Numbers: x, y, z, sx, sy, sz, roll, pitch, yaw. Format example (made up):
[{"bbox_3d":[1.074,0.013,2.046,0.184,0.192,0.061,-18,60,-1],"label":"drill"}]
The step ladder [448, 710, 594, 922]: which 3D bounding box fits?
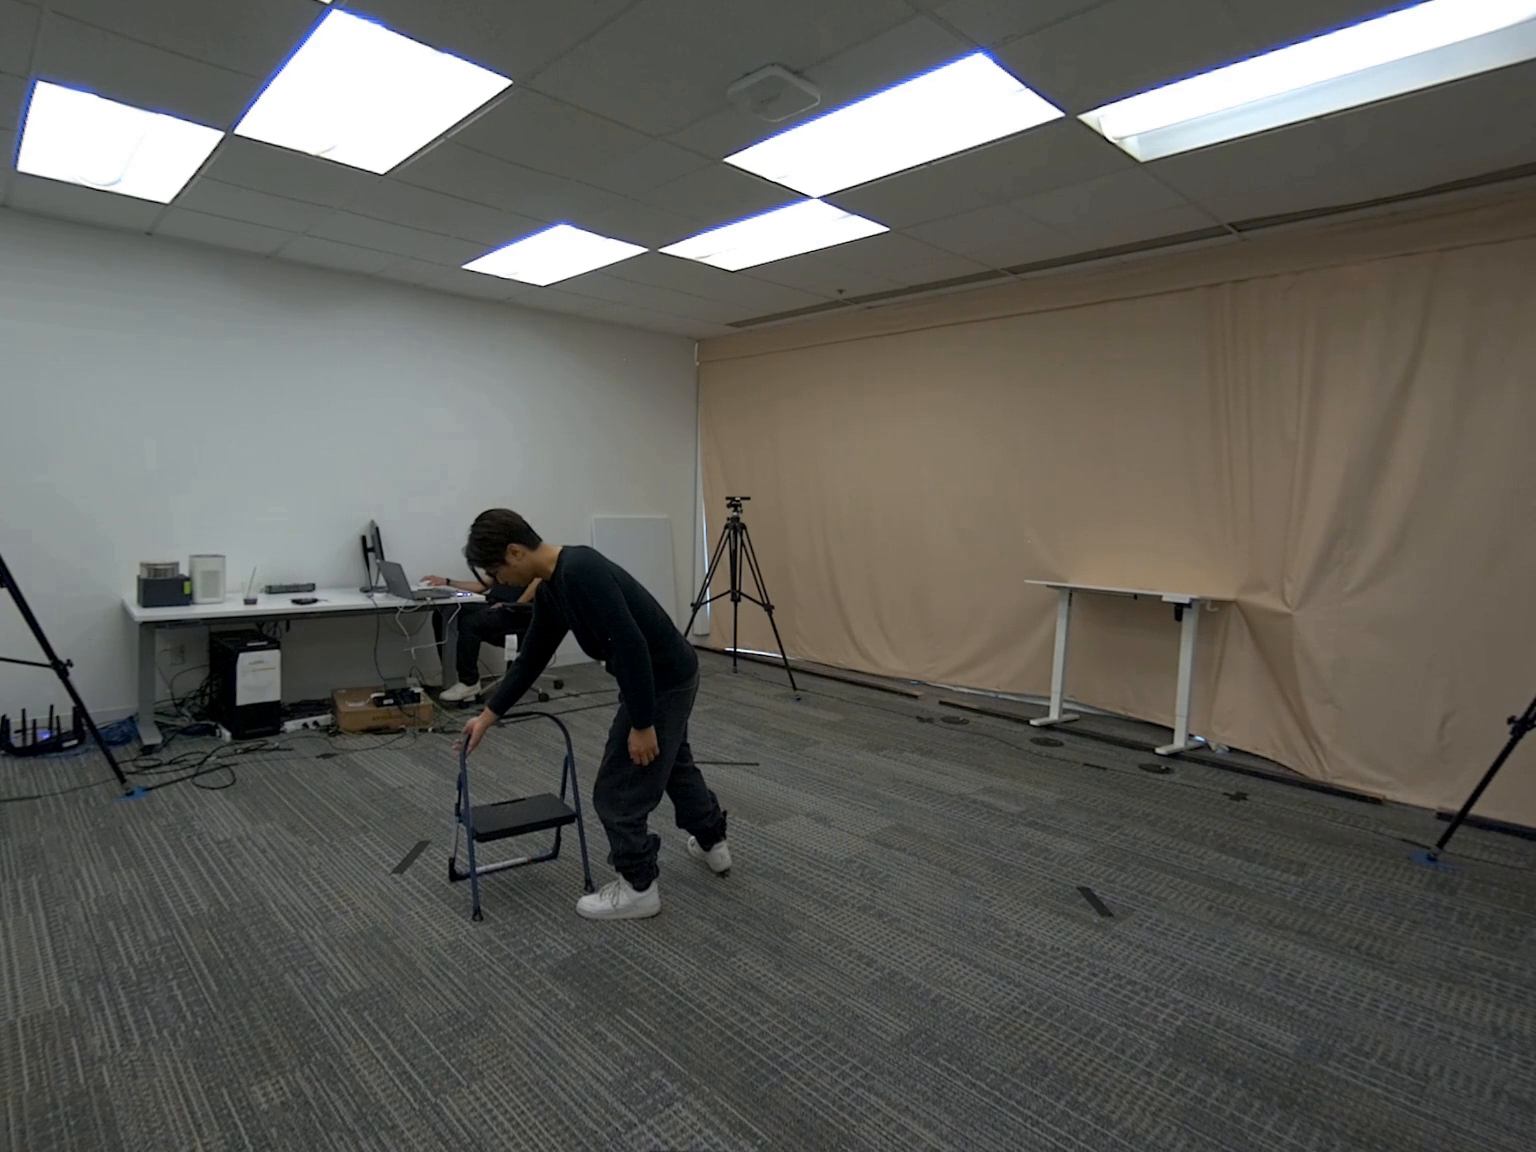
[{"bbox_3d":[-0.878,0.800,2.979,0.421,0.604,0.358,-2,5,-35],"label":"step ladder"}]
